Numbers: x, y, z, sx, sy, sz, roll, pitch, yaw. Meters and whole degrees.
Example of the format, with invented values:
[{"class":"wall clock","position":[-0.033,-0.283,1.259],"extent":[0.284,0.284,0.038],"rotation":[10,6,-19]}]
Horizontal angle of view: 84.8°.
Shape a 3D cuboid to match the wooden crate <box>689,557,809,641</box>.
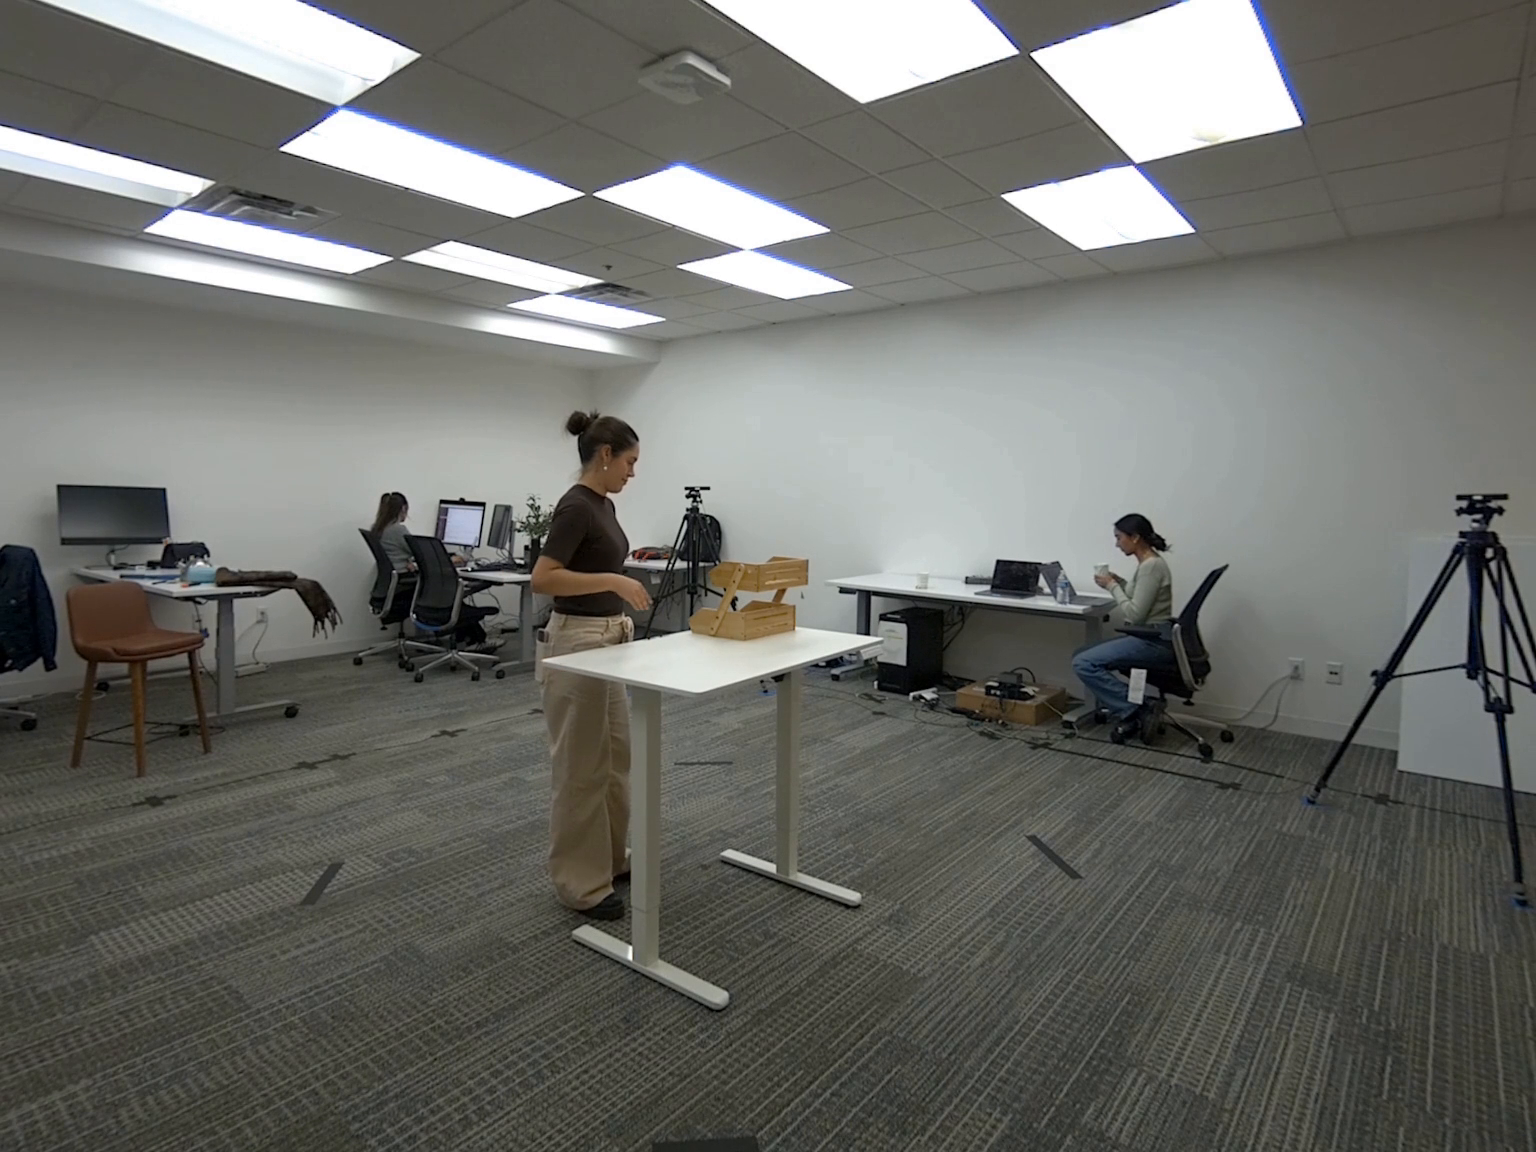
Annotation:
[{"class":"wooden crate","position":[-0.078,0.066,2.980],"extent":[0.312,0.272,0.315],"rotation":[6,7,39]}]
